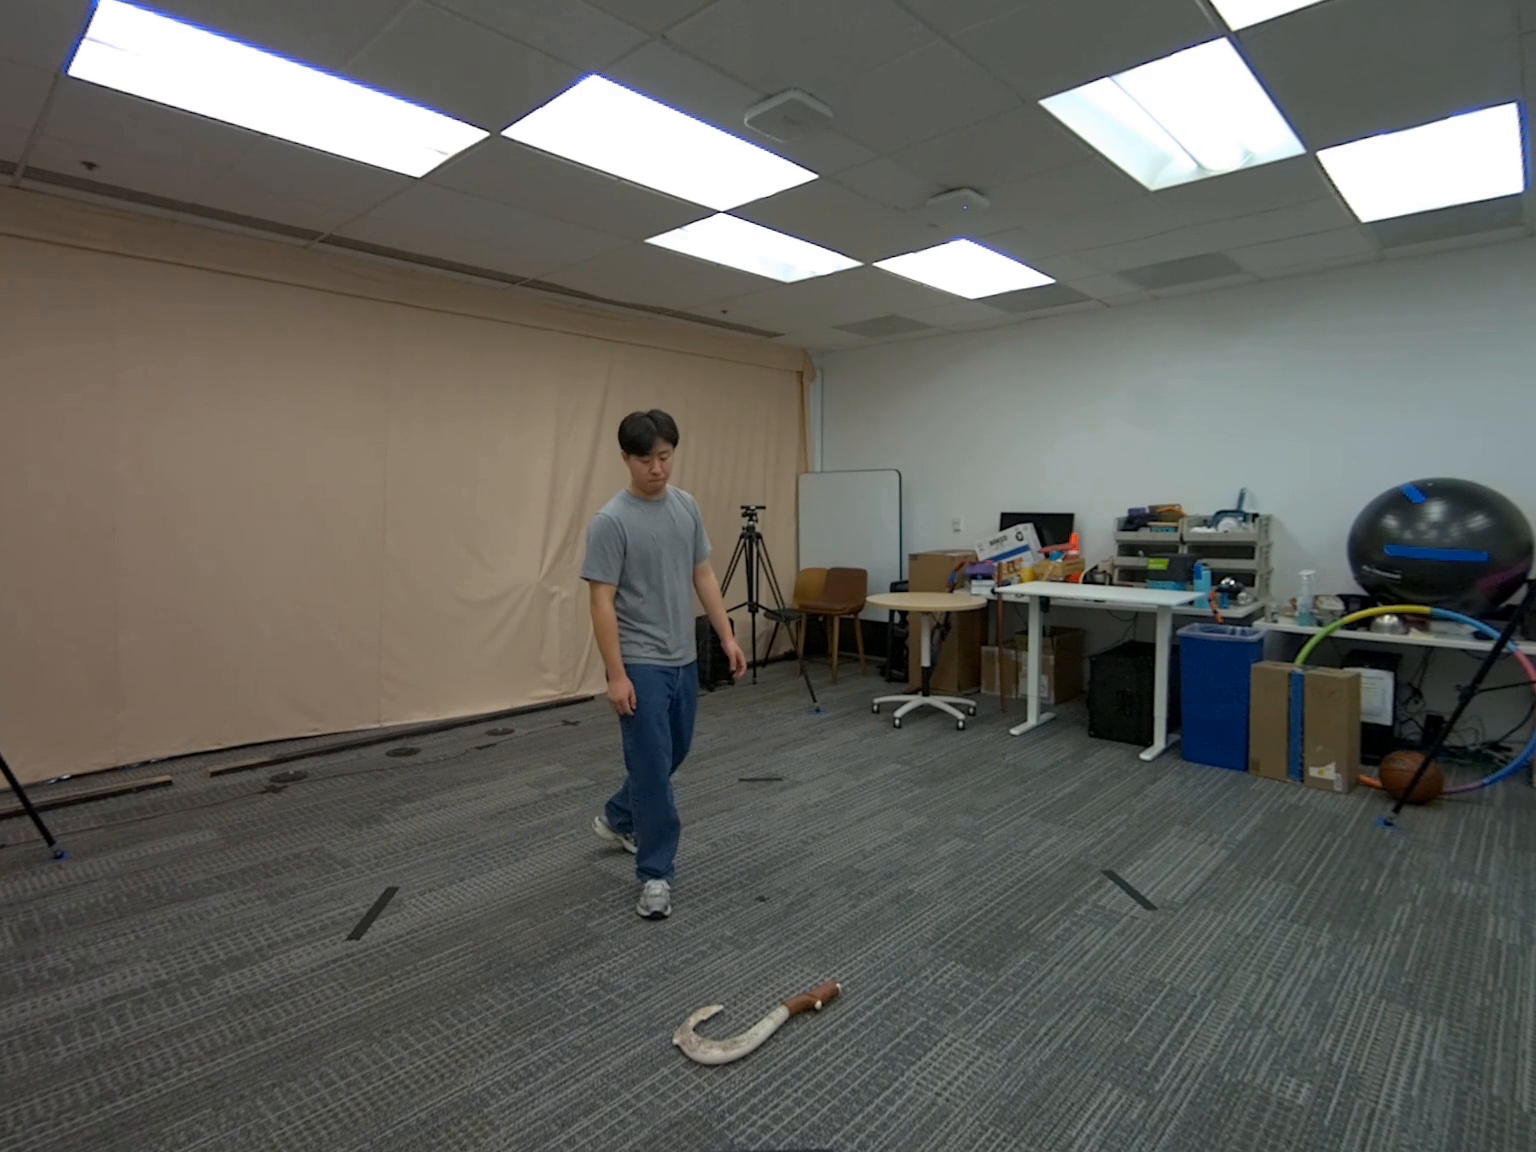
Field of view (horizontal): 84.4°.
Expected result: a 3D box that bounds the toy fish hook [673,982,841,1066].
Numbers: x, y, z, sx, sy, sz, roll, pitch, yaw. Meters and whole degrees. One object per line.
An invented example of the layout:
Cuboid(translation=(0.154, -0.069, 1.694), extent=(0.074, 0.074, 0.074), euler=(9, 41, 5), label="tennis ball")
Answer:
Cuboid(translation=(-0.019, 1.179, 2.279), extent=(0.491, 0.048, 0.232), euler=(-3, 6, -38), label="toy fish hook")
